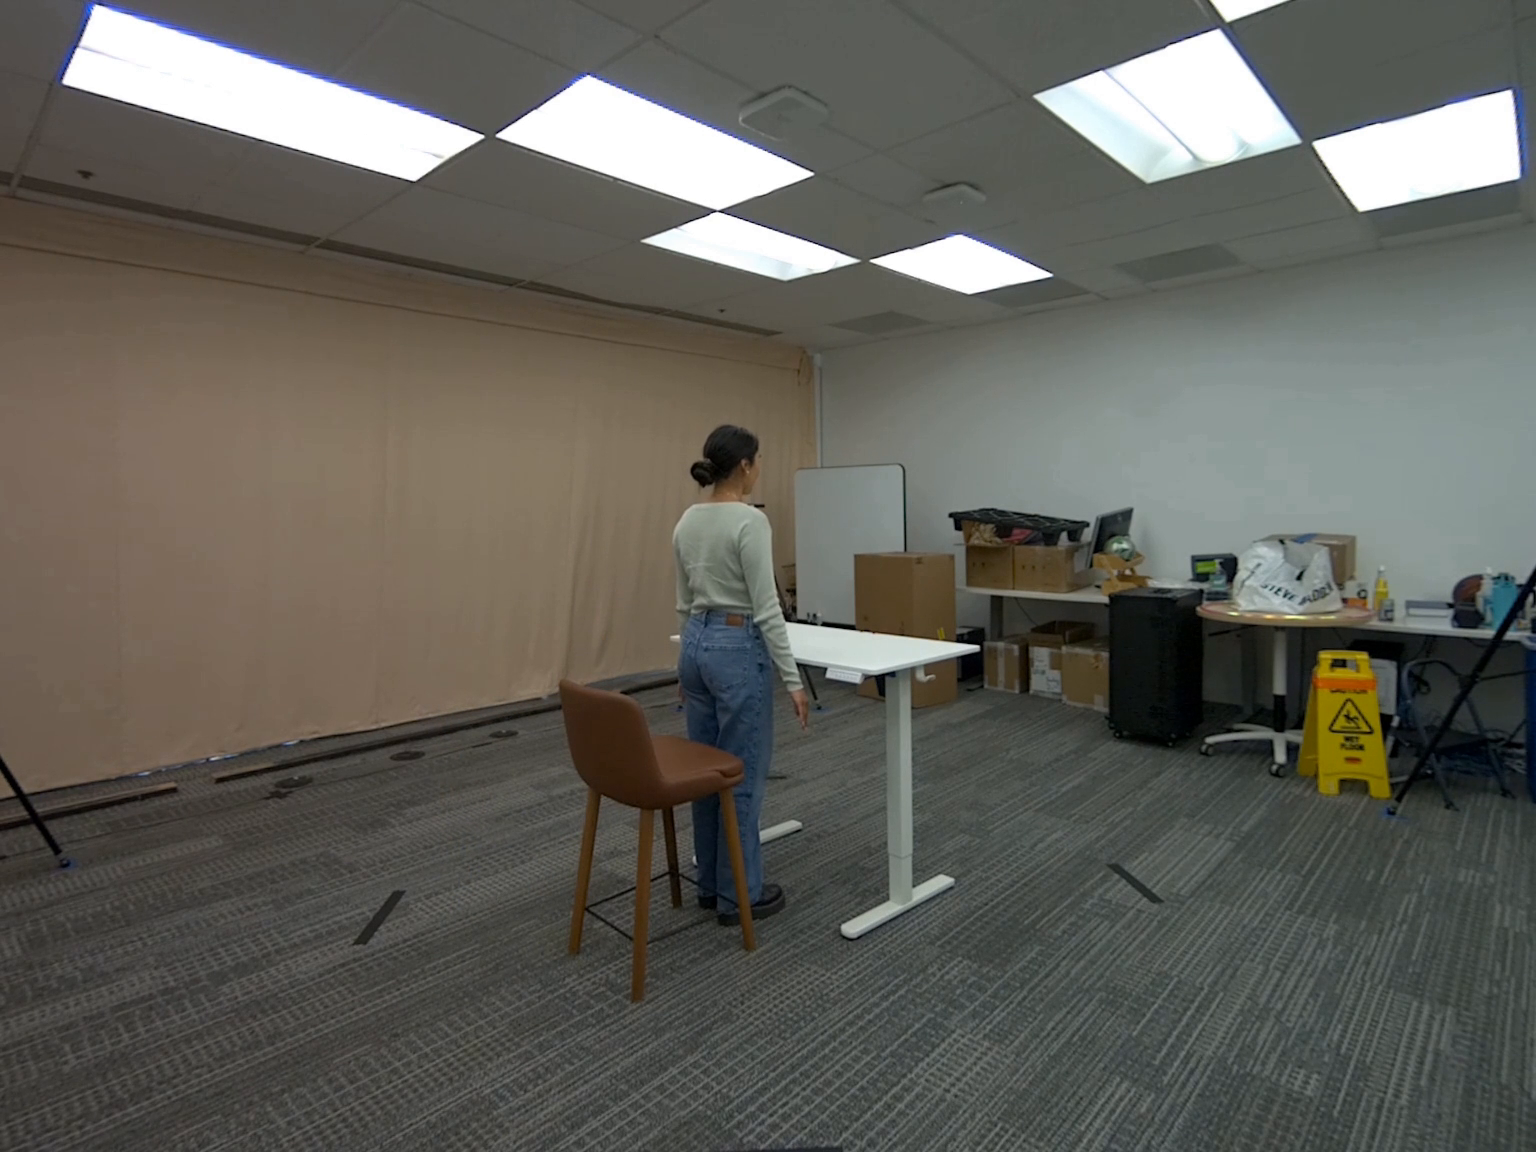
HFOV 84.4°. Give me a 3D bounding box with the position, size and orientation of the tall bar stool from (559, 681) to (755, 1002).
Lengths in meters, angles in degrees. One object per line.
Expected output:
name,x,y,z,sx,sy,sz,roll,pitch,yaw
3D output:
tall bar stool,-0.347,0.740,2.617,0.454,0.887,0.471,-6,6,-41
